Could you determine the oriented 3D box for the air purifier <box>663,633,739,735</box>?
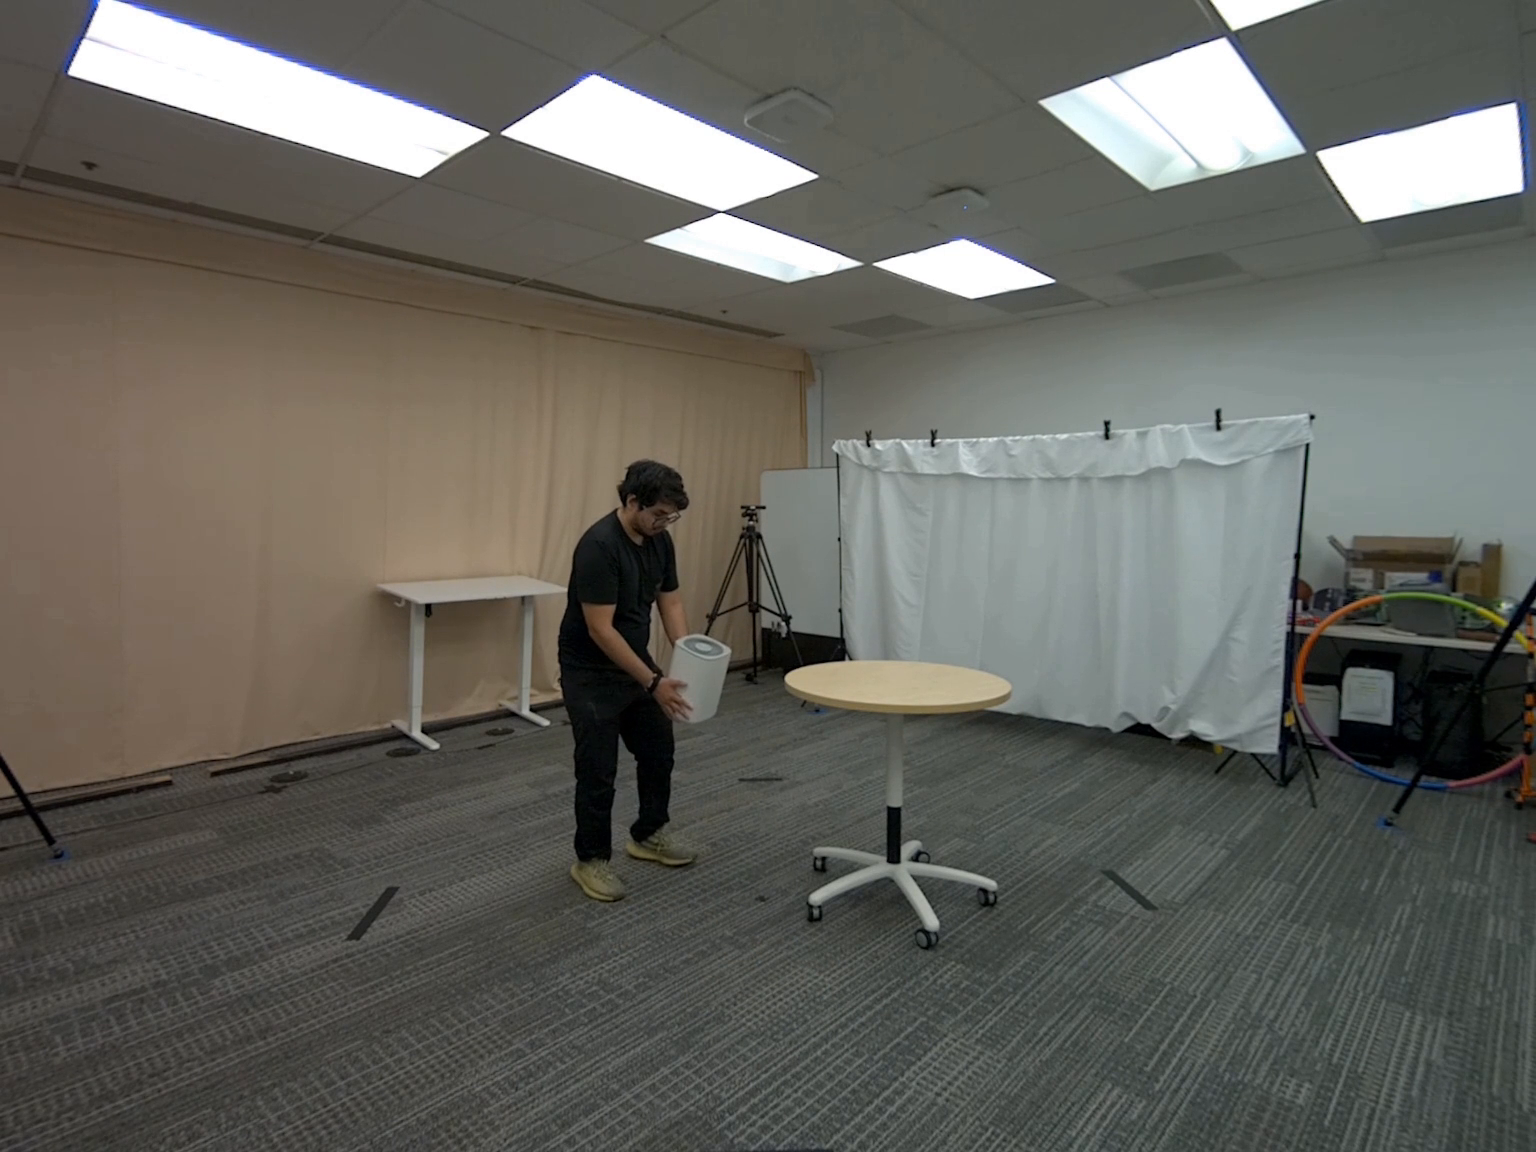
[{"bbox_3d":[-0.250,0.367,2.921,0.176,0.264,0.167,24,18,28],"label":"air purifier"}]
